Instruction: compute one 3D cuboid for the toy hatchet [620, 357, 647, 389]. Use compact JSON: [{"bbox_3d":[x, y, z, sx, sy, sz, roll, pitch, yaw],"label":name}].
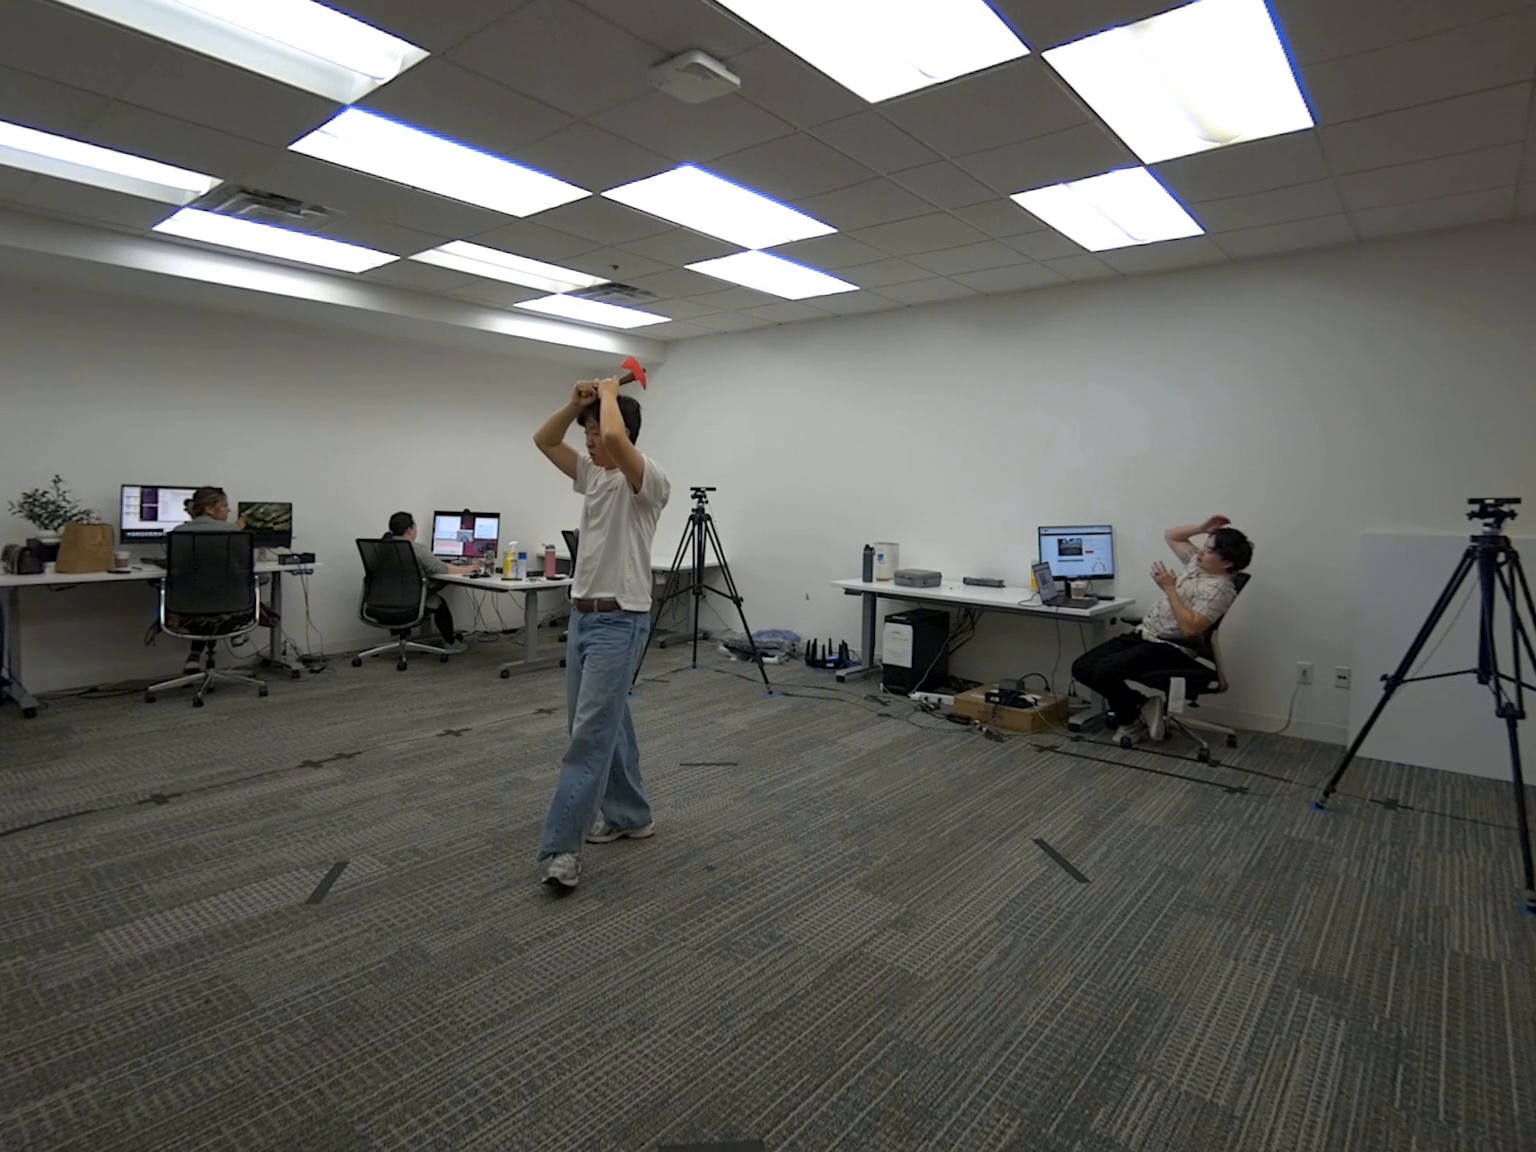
[{"bbox_3d":[-0.596,-0.756,3.177,0.266,0.129,0.030,-8,13,-16],"label":"toy hatchet"}]
